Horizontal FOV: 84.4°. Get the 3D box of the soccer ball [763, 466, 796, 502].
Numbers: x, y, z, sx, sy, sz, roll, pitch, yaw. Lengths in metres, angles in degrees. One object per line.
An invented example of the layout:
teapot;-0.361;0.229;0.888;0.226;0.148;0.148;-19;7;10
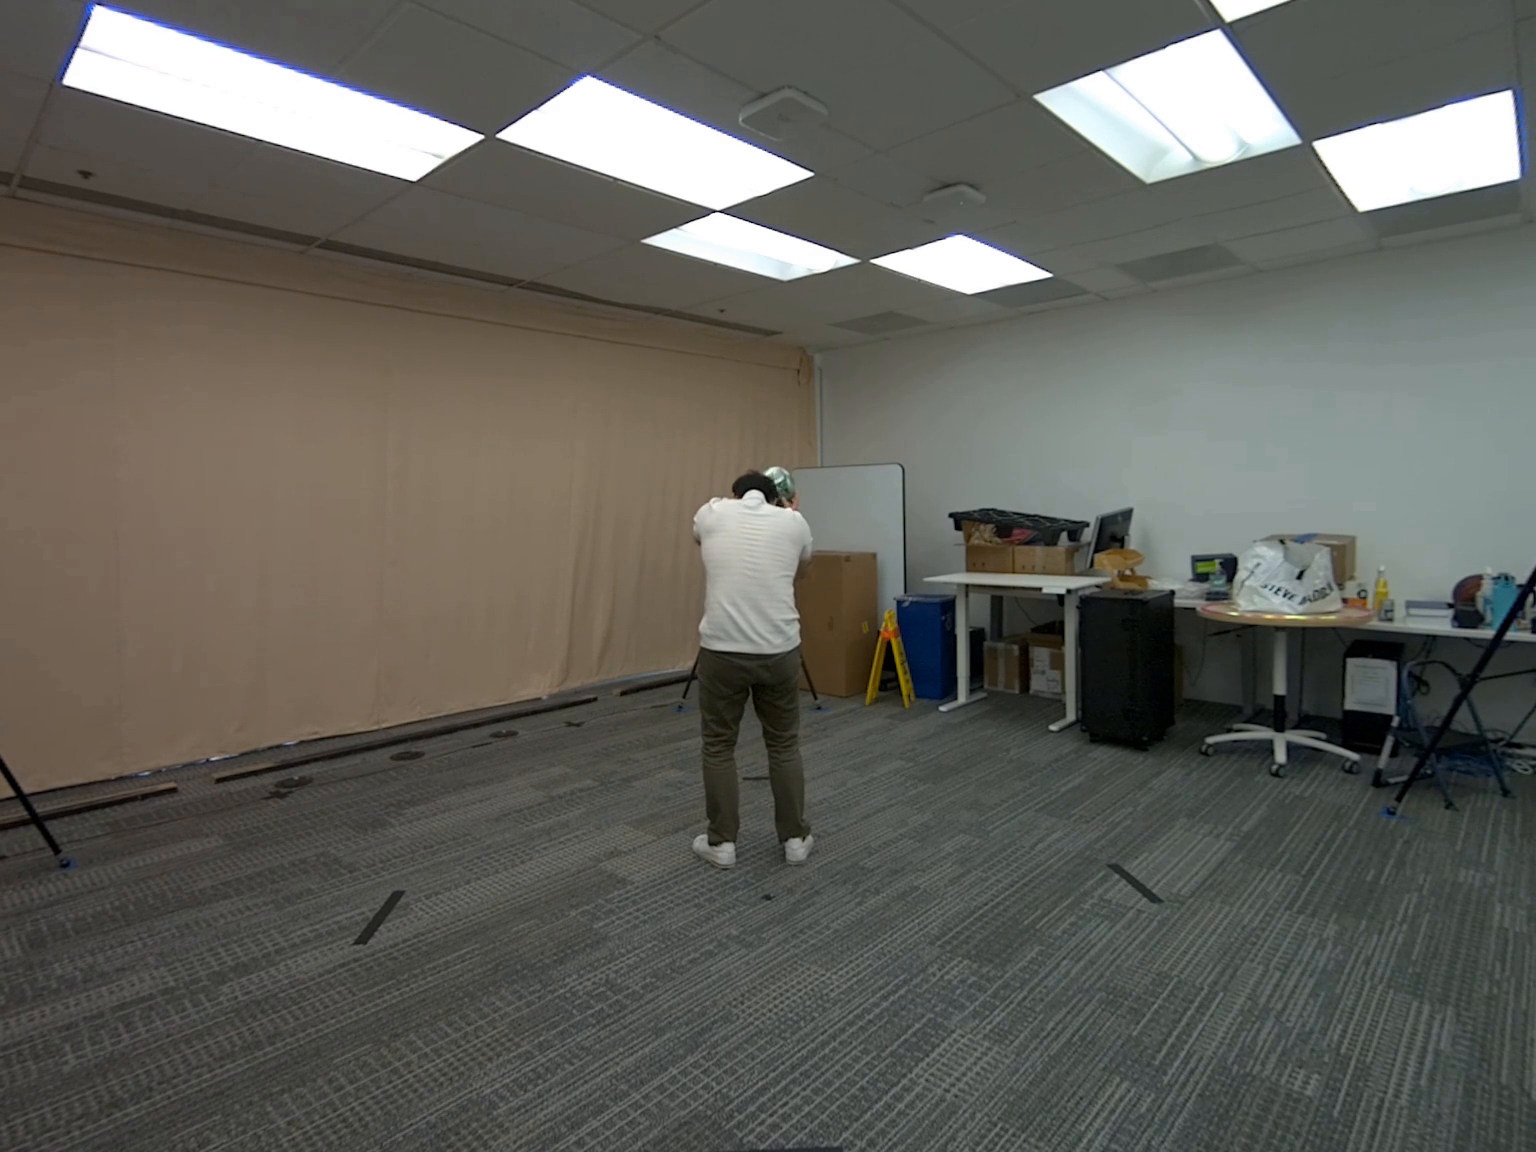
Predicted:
soccer ball;0.029;-0.378;3.716;0.187;0.187;0.188;-1;4;-2
